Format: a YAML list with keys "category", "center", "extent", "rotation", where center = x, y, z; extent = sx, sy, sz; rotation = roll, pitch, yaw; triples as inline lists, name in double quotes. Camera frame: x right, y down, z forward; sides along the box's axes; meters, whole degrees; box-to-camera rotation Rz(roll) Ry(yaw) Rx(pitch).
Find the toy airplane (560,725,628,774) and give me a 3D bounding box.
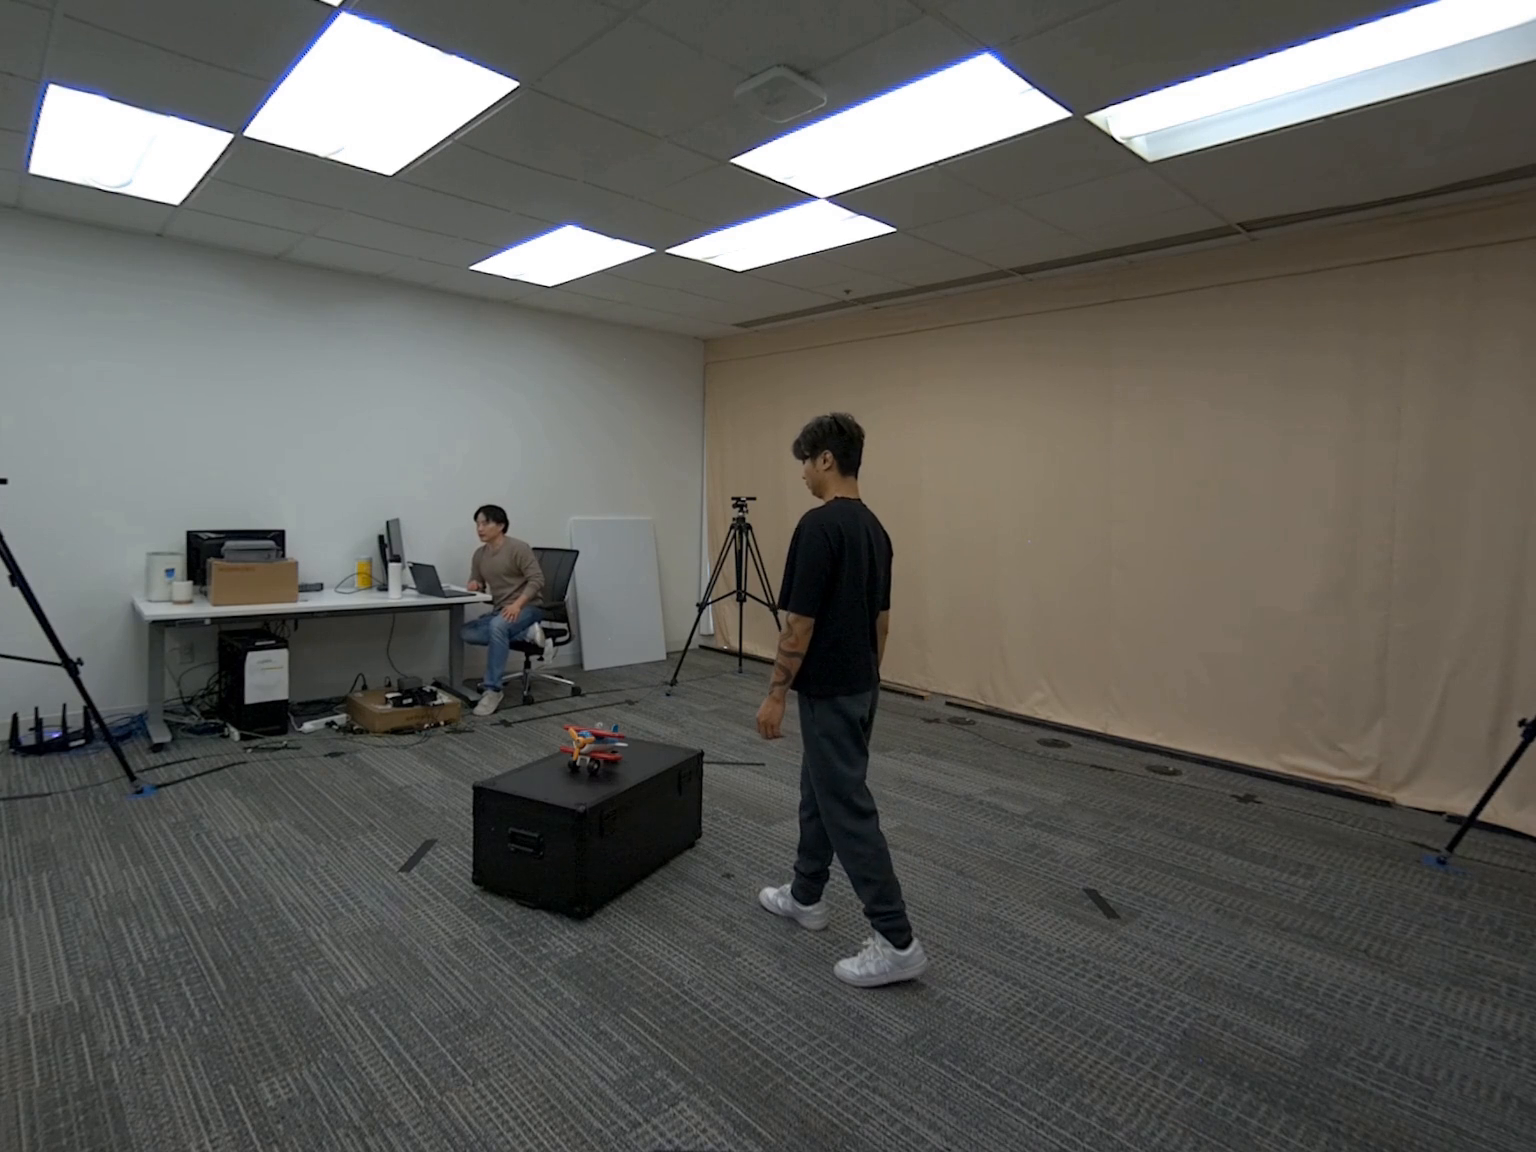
- category: "toy airplane"
  center: [-0.664, 0.637, 3.178]
  extent: [0.250, 0.156, 0.261]
  rotation: [2, 5, -4]
